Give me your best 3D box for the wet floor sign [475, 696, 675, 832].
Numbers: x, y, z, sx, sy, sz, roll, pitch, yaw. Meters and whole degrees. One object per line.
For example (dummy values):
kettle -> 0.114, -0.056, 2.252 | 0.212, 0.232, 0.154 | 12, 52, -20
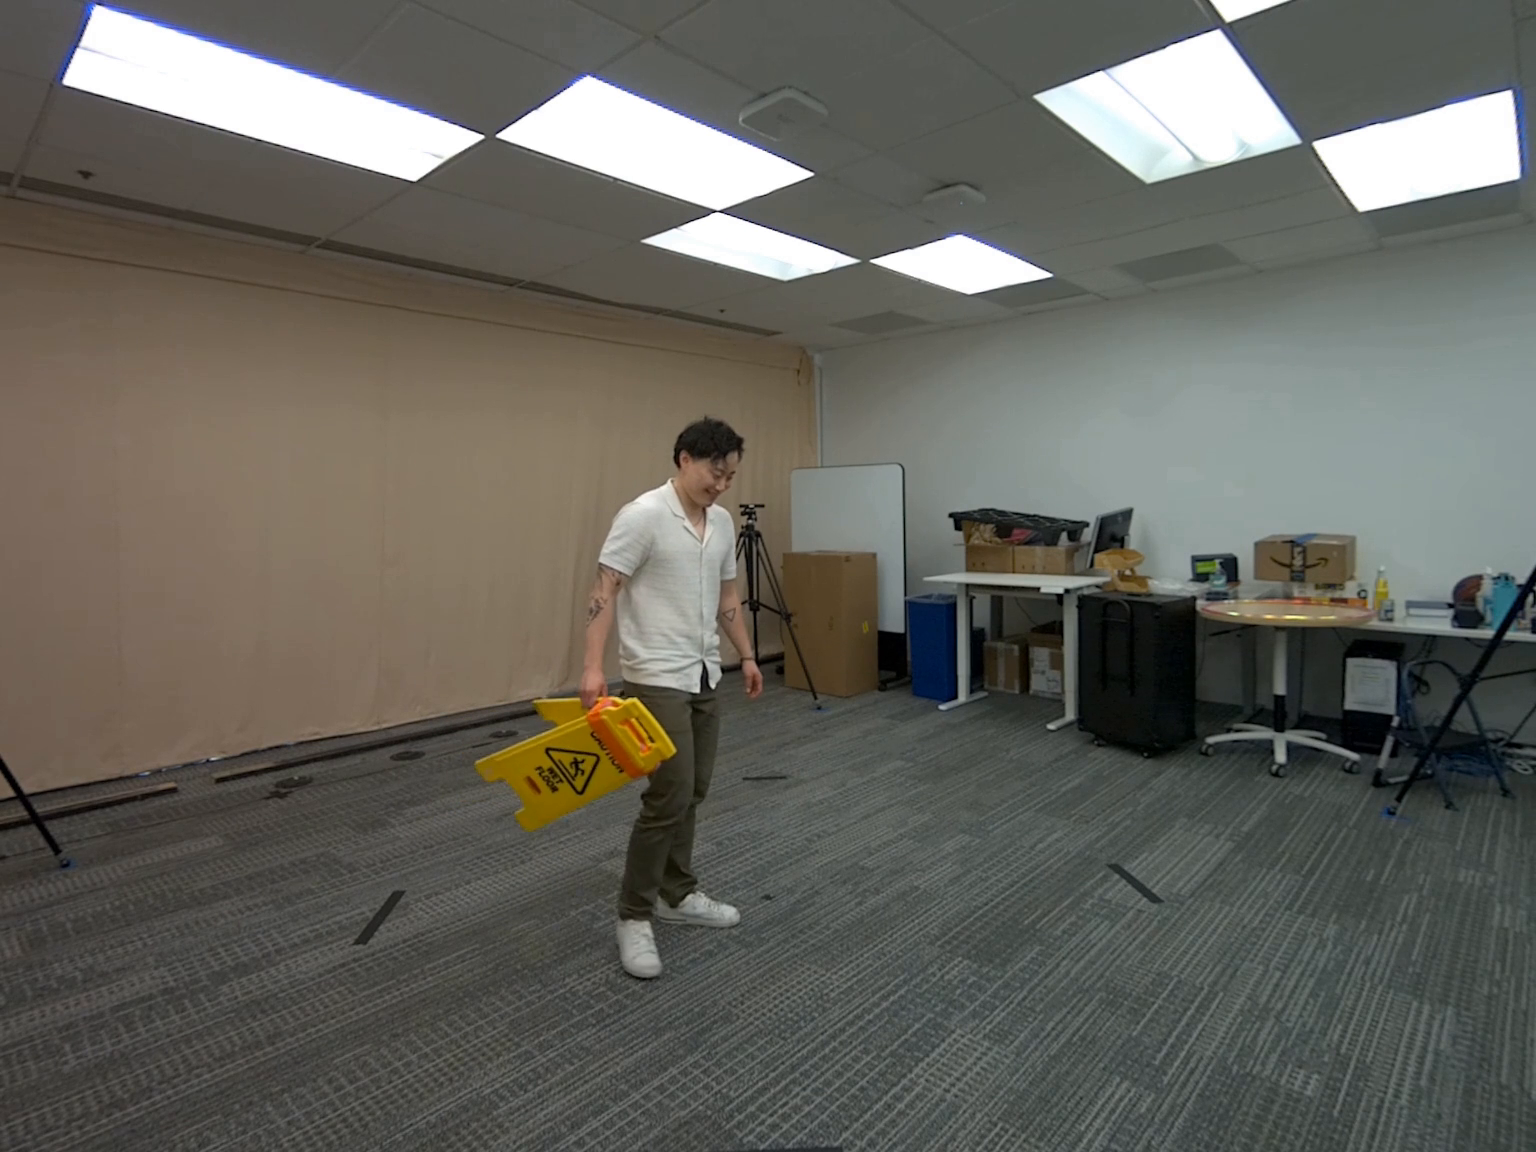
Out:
wet floor sign -> -0.539, 0.511, 2.507 | 0.660, 0.278, 0.287 | -24, 17, 40
